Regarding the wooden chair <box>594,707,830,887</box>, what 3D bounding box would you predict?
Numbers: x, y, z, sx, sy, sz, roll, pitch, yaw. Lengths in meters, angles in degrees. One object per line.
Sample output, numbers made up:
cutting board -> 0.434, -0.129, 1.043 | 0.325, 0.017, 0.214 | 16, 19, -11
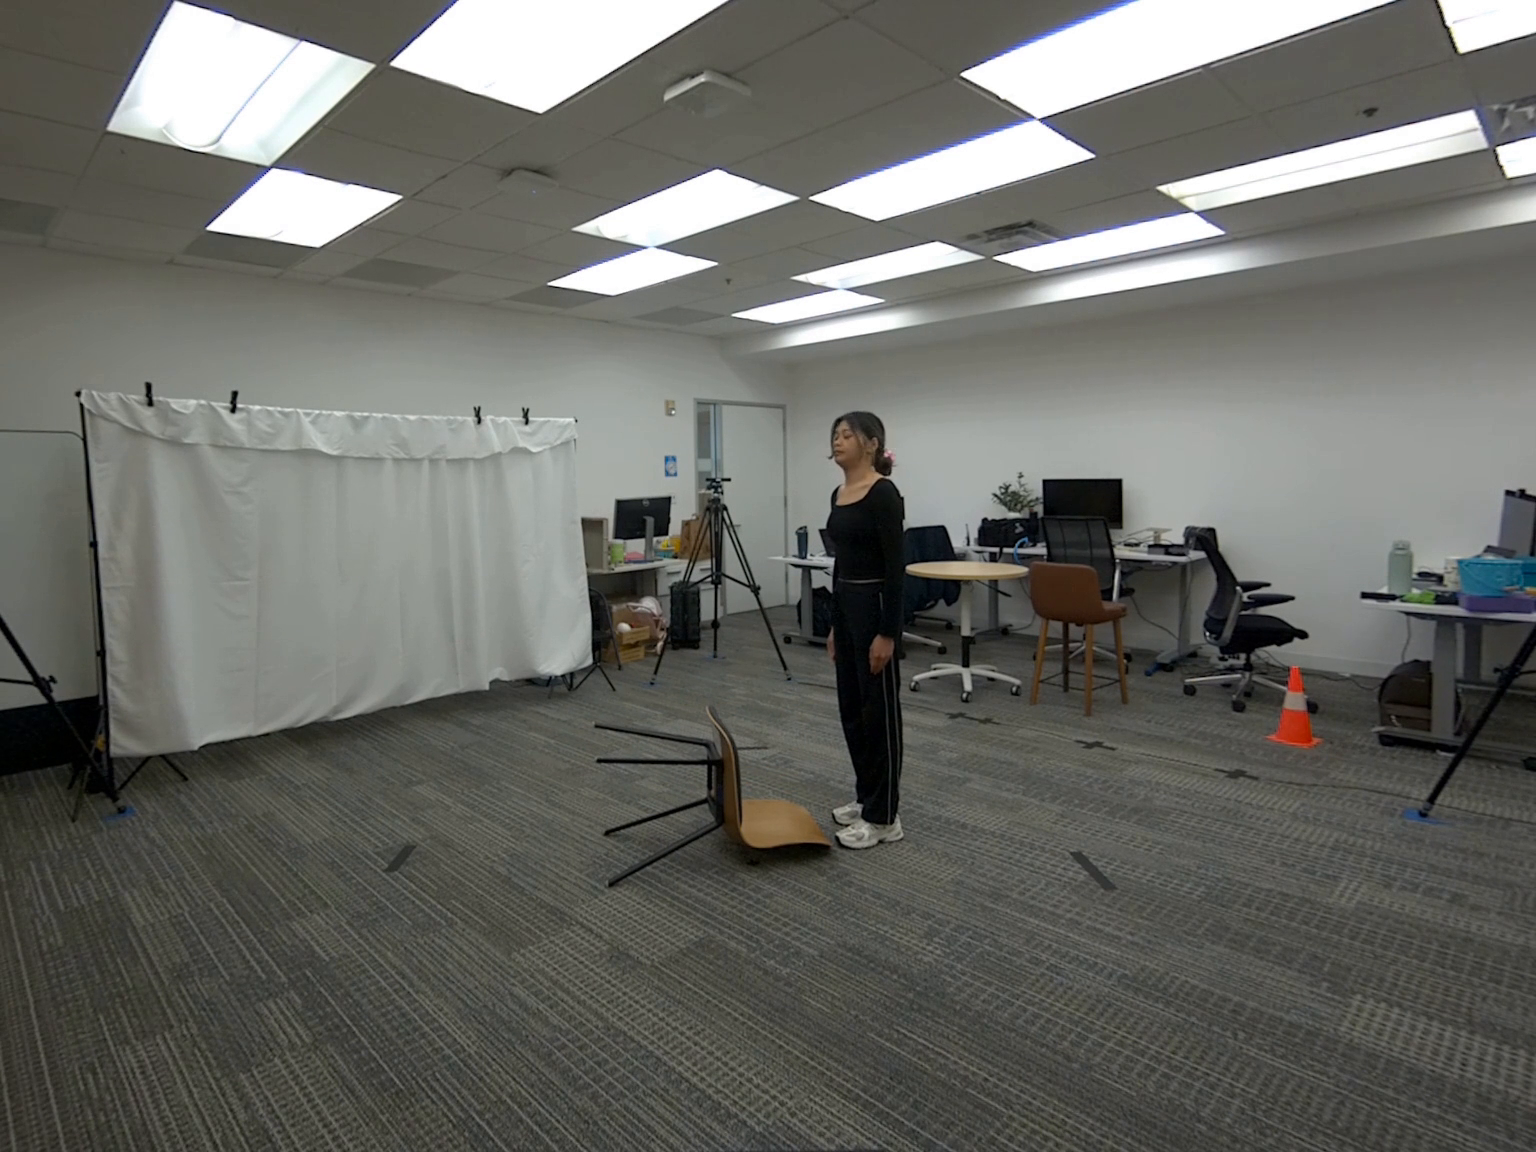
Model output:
wooden chair -> -0.198, 0.770, 3.209 | 0.869, 0.521, 0.485 | -1, 5, -10
